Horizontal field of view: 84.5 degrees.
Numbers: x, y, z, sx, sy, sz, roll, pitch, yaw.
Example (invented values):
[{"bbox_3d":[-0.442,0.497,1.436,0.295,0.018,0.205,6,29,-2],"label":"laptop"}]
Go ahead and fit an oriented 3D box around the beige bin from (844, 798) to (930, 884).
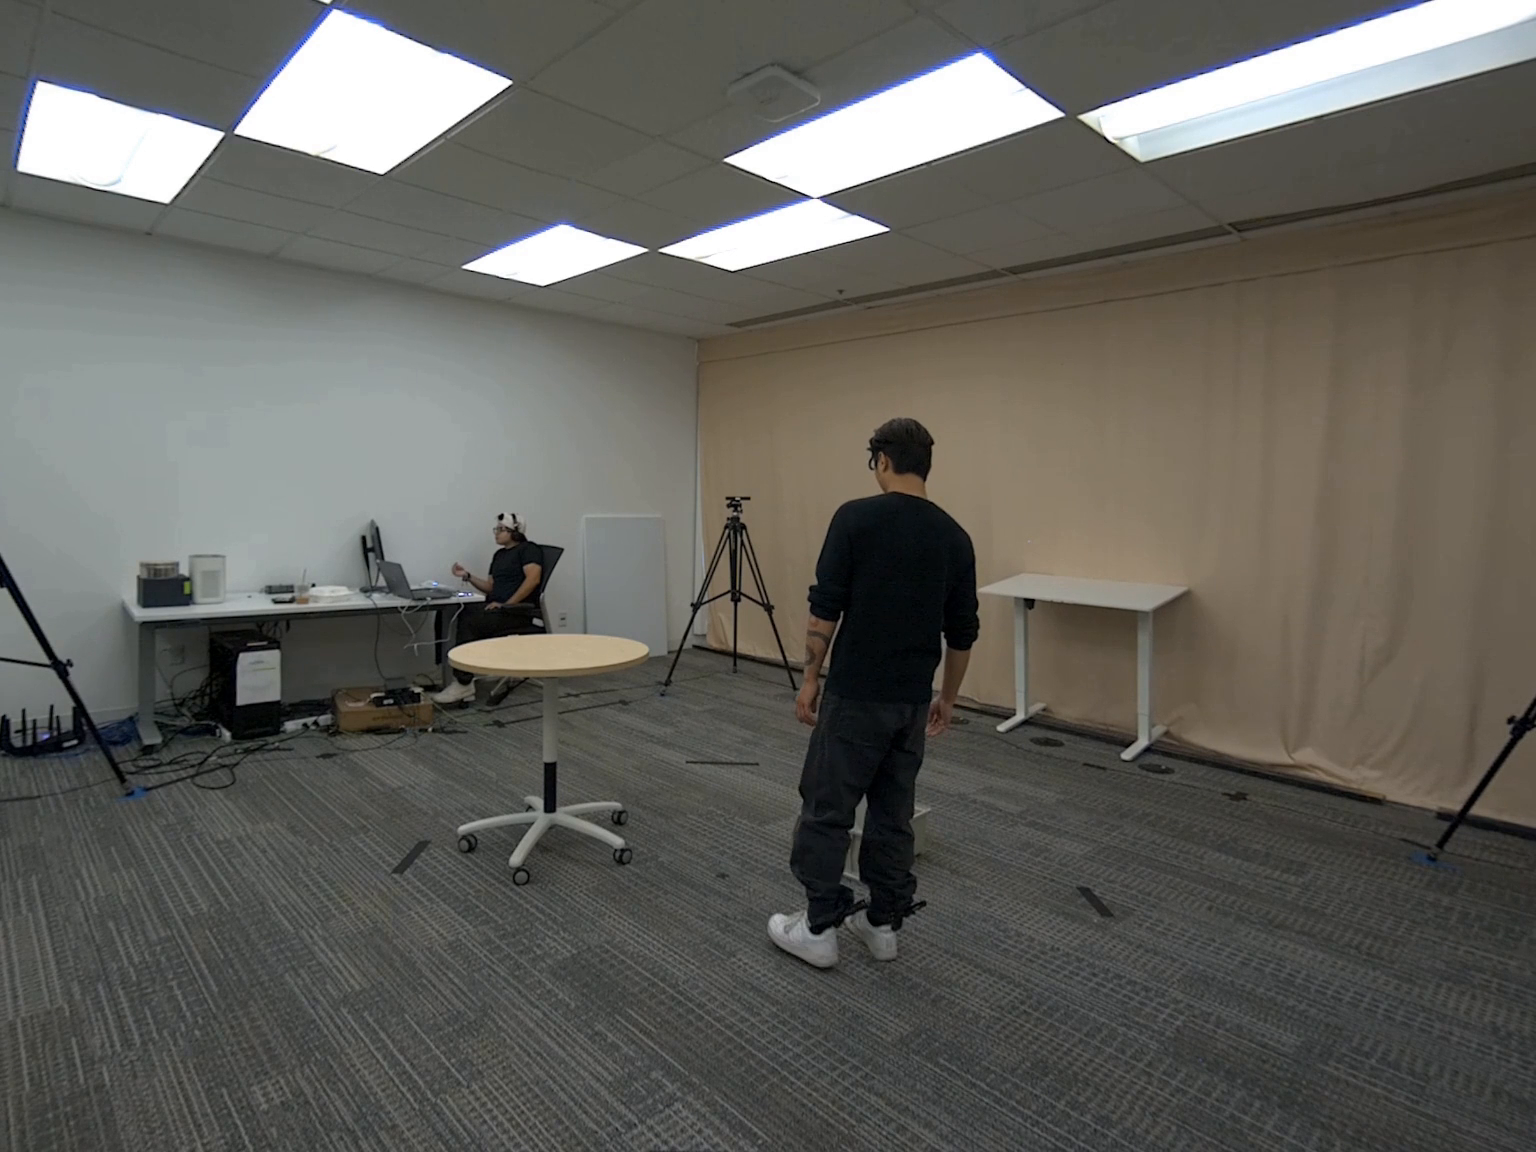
[{"bbox_3d":[0.365,1.013,3.321,0.387,0.188,0.413,6,6,42],"label":"beige bin"}]
